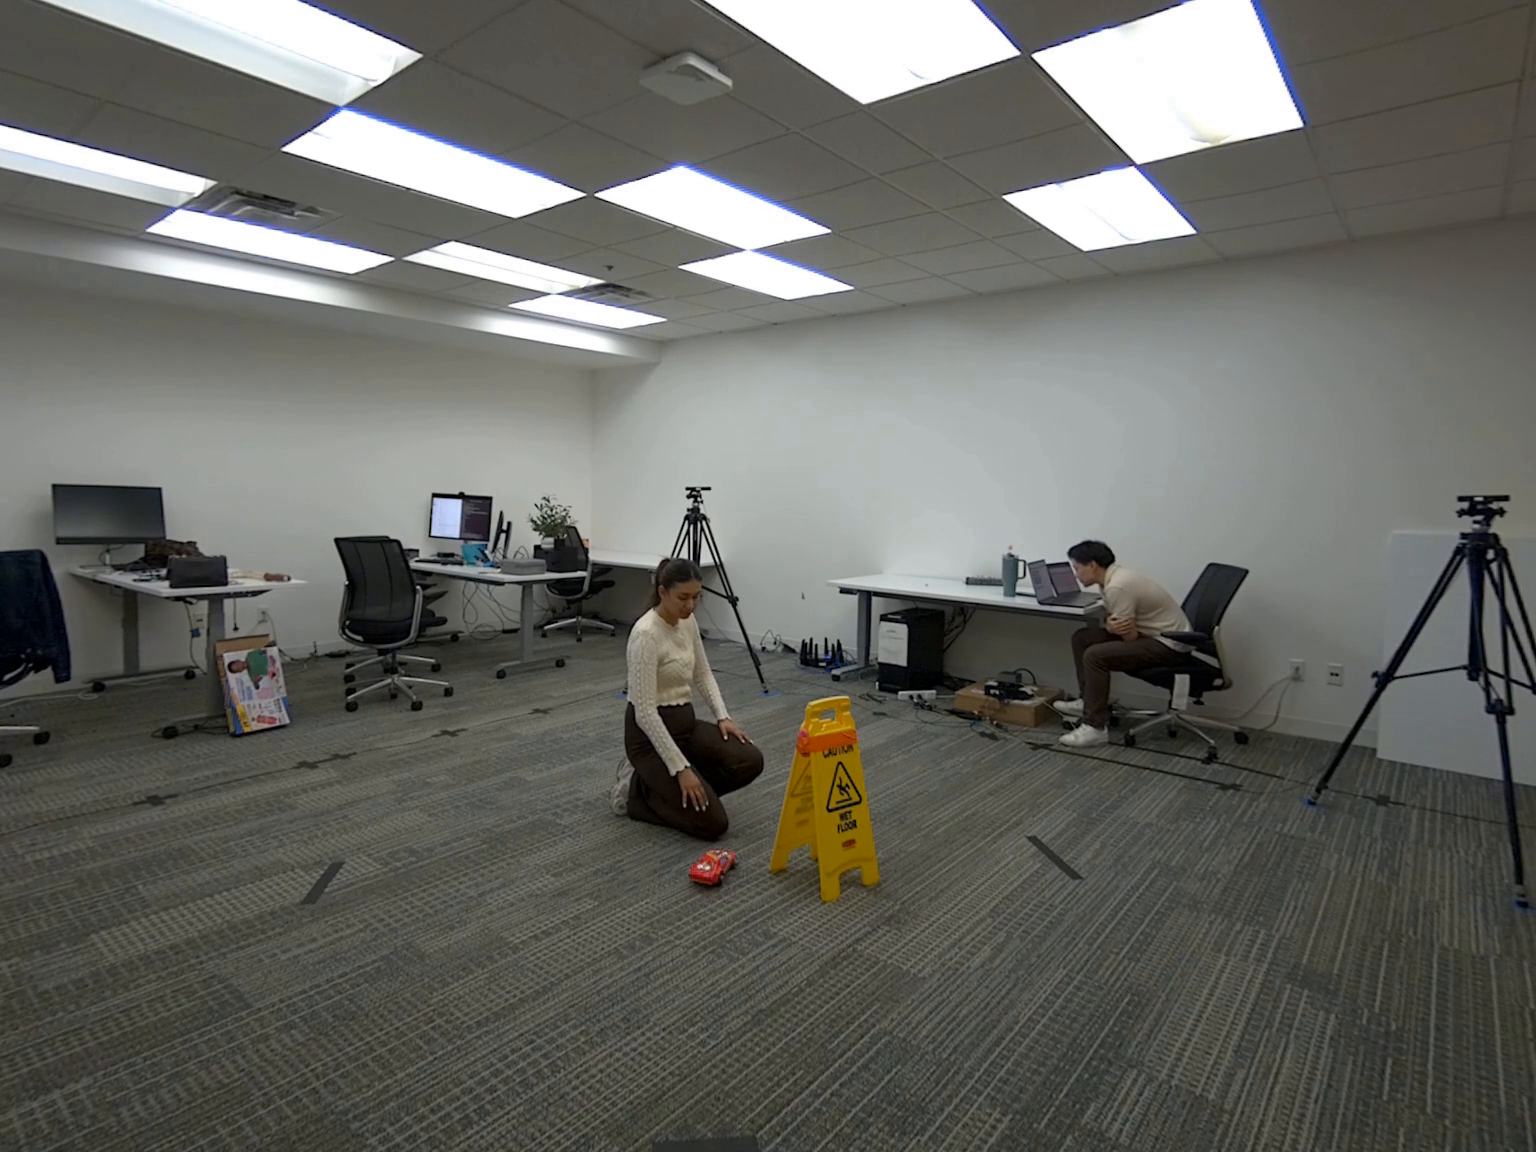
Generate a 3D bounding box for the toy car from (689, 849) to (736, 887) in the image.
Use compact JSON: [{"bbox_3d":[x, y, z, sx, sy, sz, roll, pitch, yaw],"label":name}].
[{"bbox_3d":[-0.212,1.040,3.048,0.133,0.083,0.248,5,-4,19],"label":"toy car"}]
